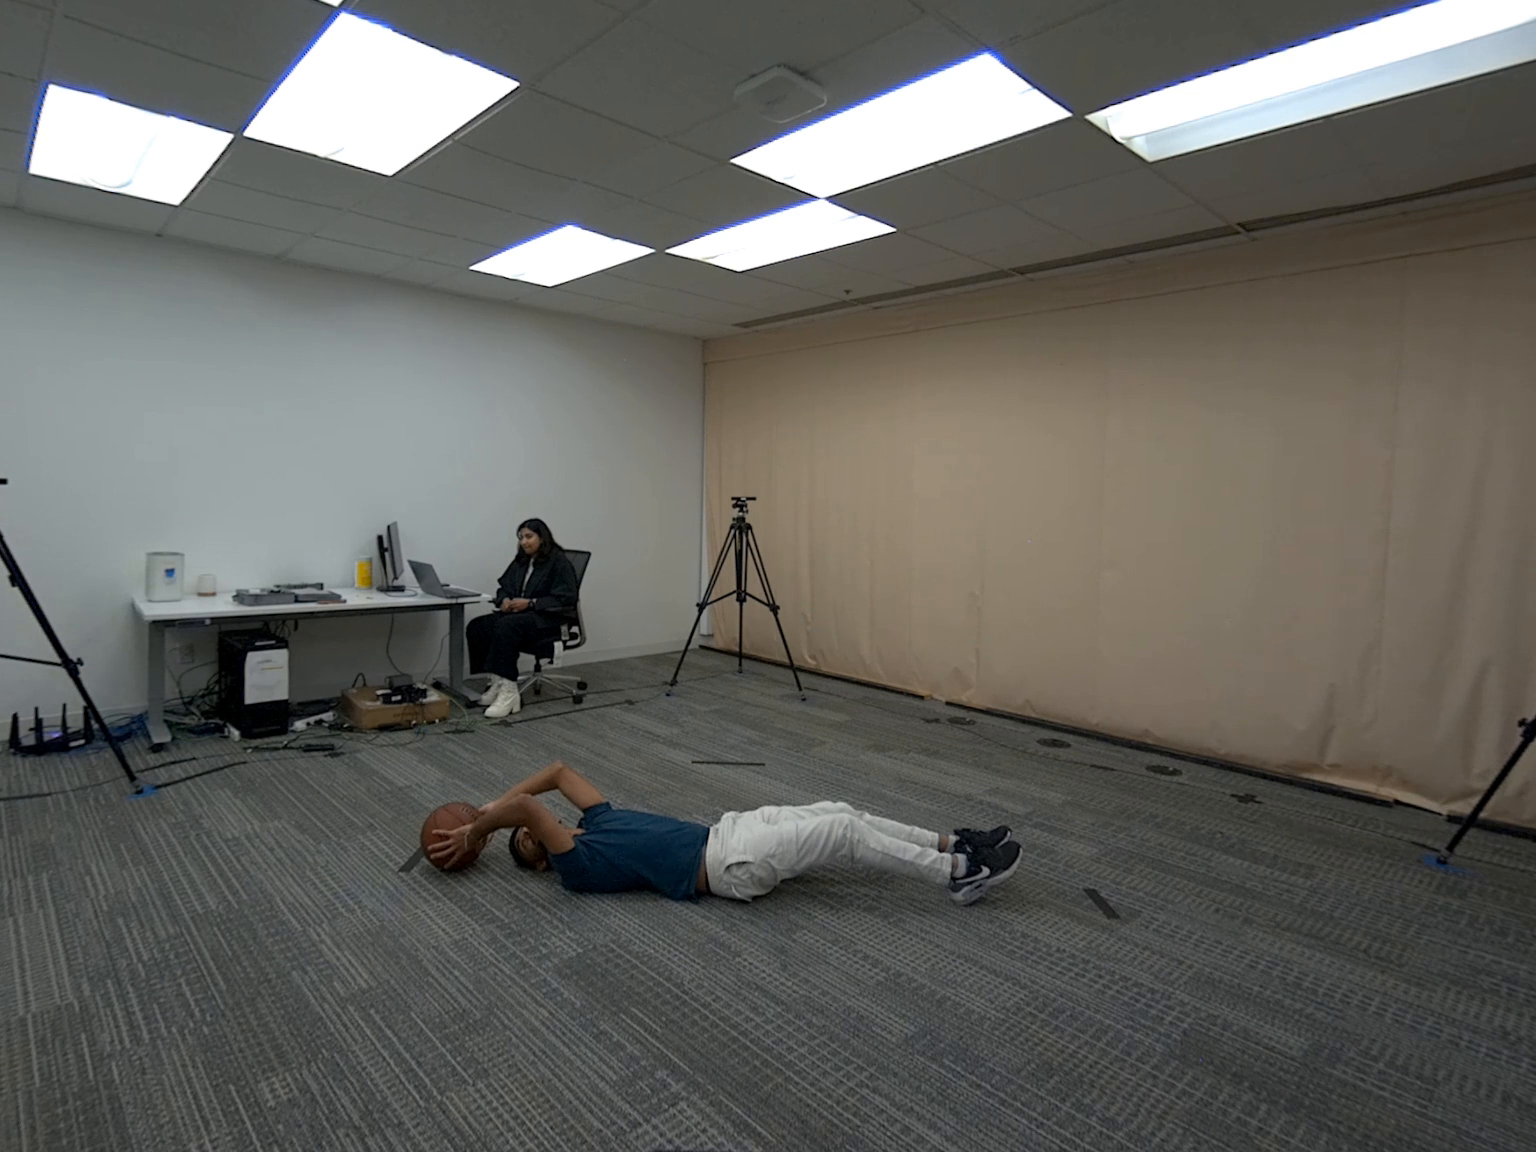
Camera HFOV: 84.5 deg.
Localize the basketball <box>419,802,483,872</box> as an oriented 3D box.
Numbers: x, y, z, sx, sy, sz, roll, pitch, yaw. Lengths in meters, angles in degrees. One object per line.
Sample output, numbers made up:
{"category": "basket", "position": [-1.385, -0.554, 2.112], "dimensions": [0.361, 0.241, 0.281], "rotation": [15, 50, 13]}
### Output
{"category": "basketball", "position": [-1.175, 0.964, 3.120], "dimensions": [0.236, 0.235, 0.237], "rotation": [1, 4, -1]}
